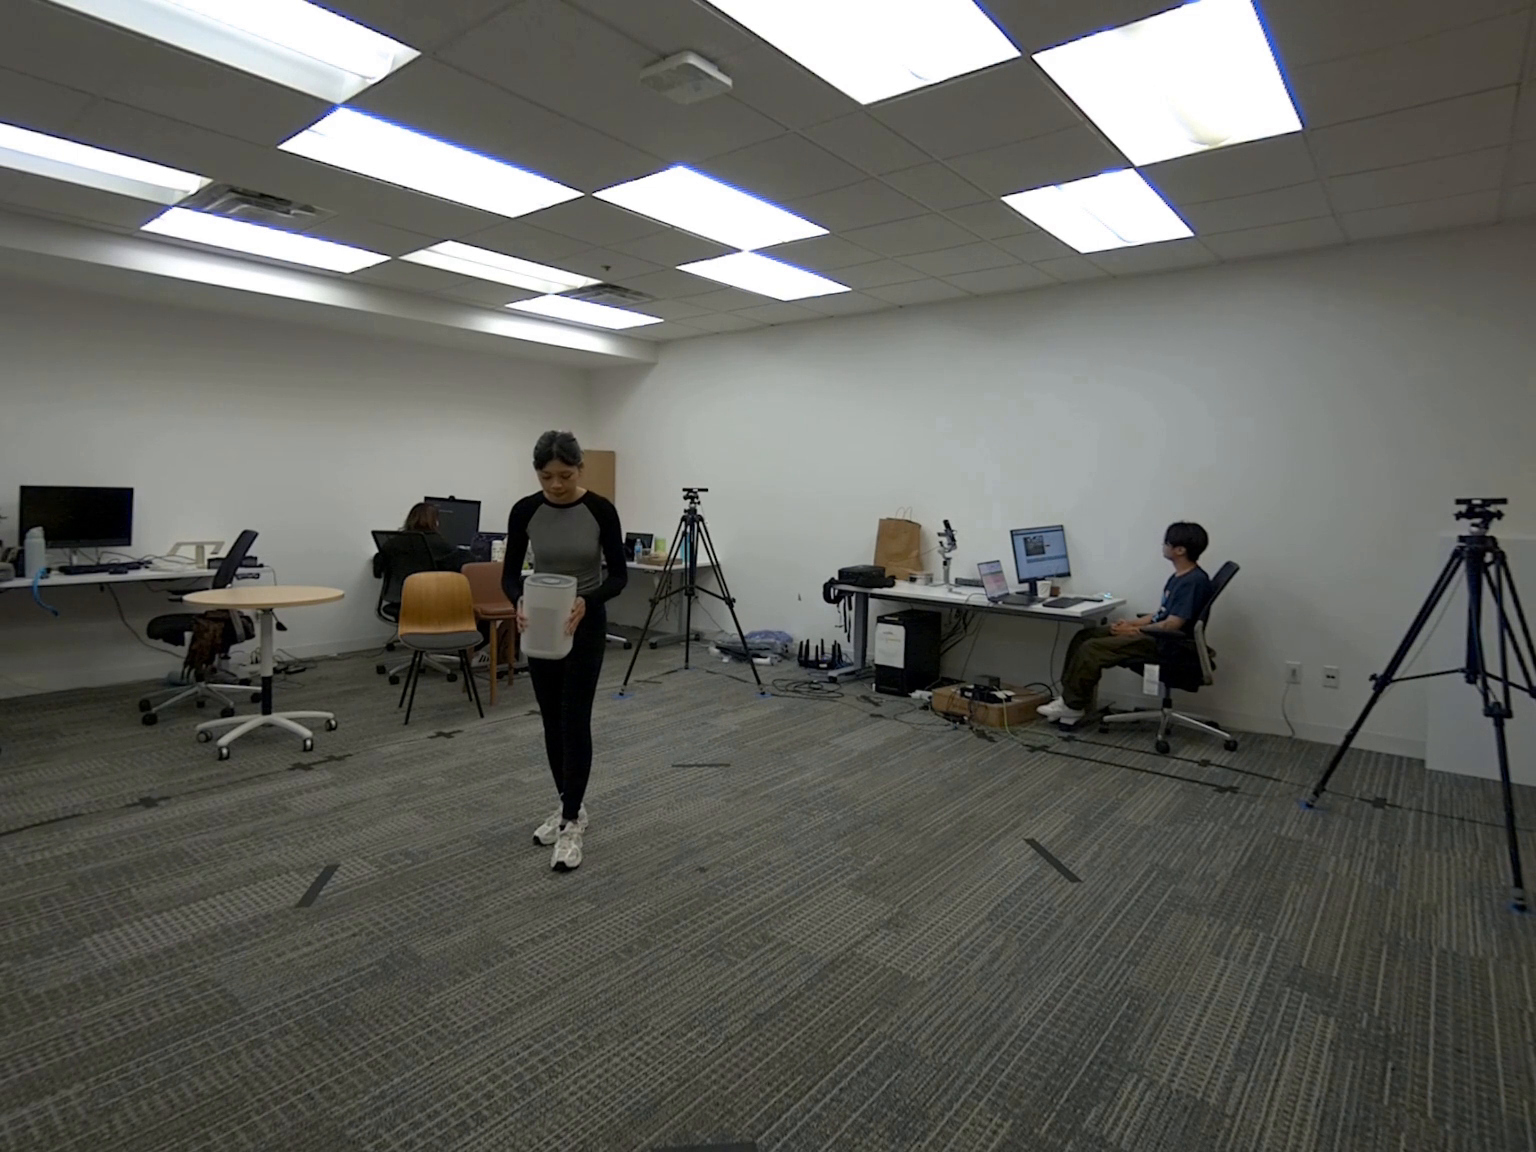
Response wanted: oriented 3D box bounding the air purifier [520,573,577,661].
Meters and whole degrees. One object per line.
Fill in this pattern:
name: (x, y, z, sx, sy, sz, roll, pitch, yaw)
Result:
air purifier: (-0.782, 0.131, 2.982, 0.171, 0.263, 0.173, 4, 12, -3)
